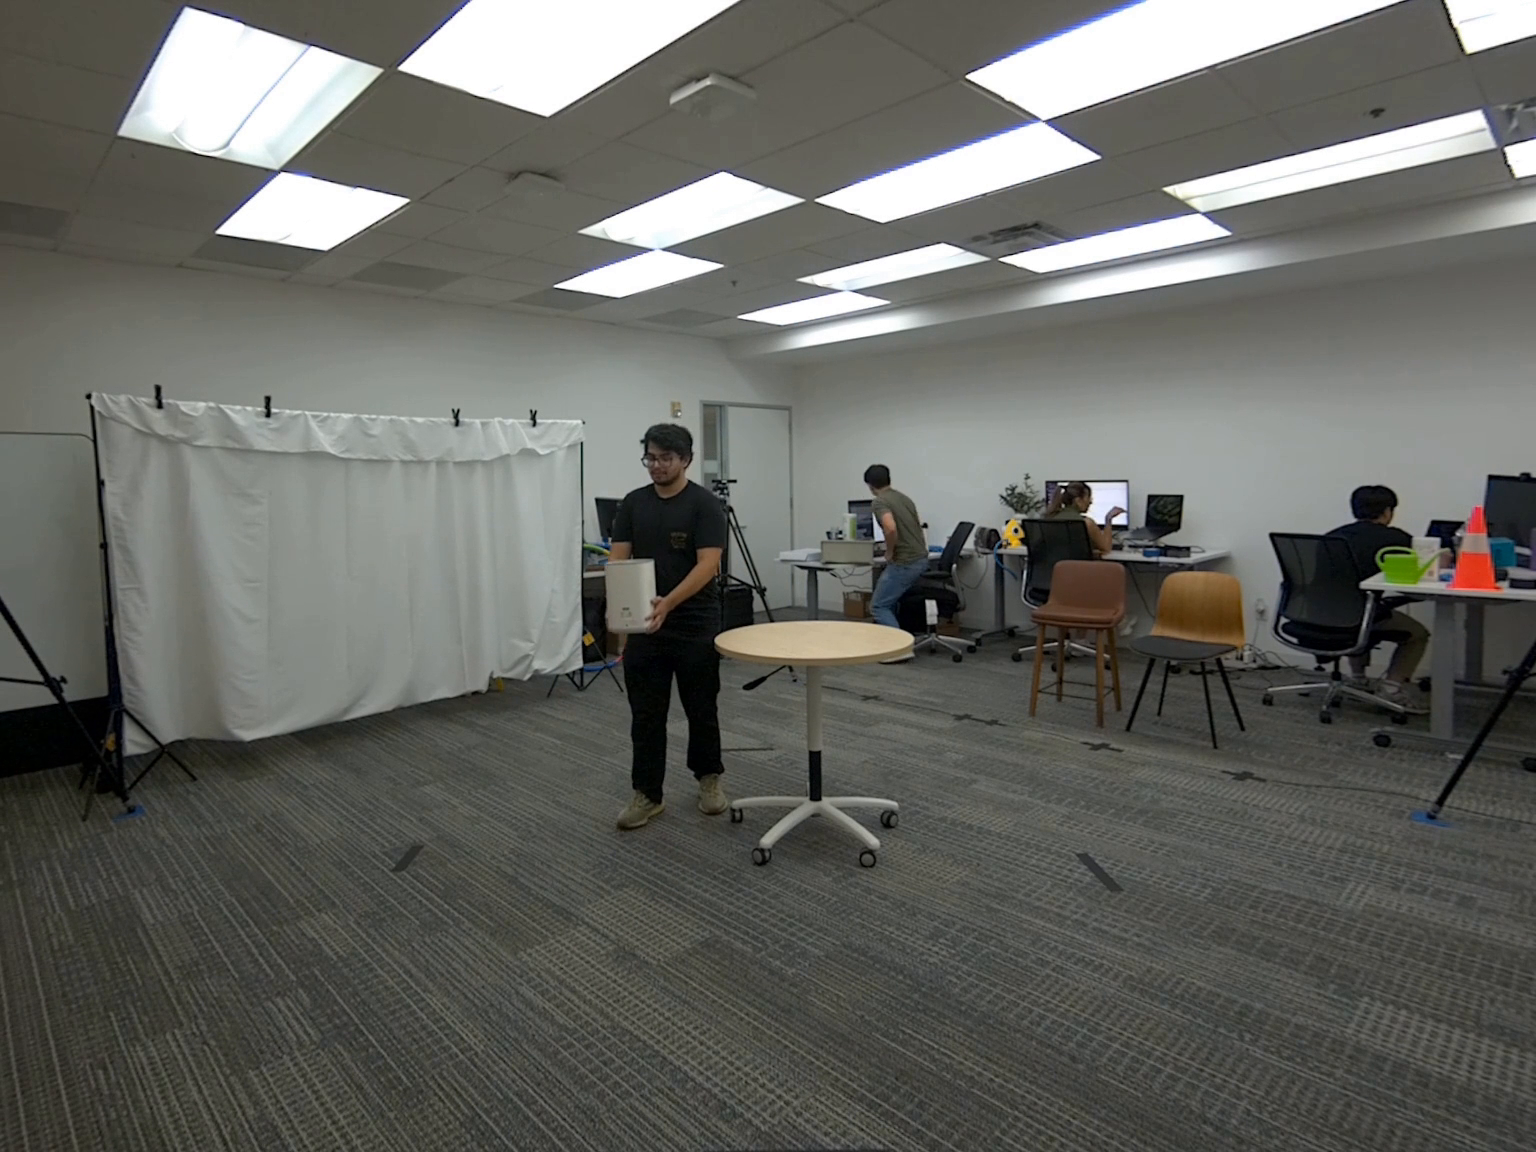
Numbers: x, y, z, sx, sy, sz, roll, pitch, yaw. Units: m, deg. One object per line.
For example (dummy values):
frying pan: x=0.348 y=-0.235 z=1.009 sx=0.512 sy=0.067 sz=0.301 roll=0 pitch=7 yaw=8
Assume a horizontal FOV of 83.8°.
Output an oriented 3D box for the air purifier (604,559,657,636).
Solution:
air purifier: x=-0.511 y=0.075 z=3.234 sx=0.172 sy=0.265 sz=0.171 roll=-3 pitch=2 yaw=5
